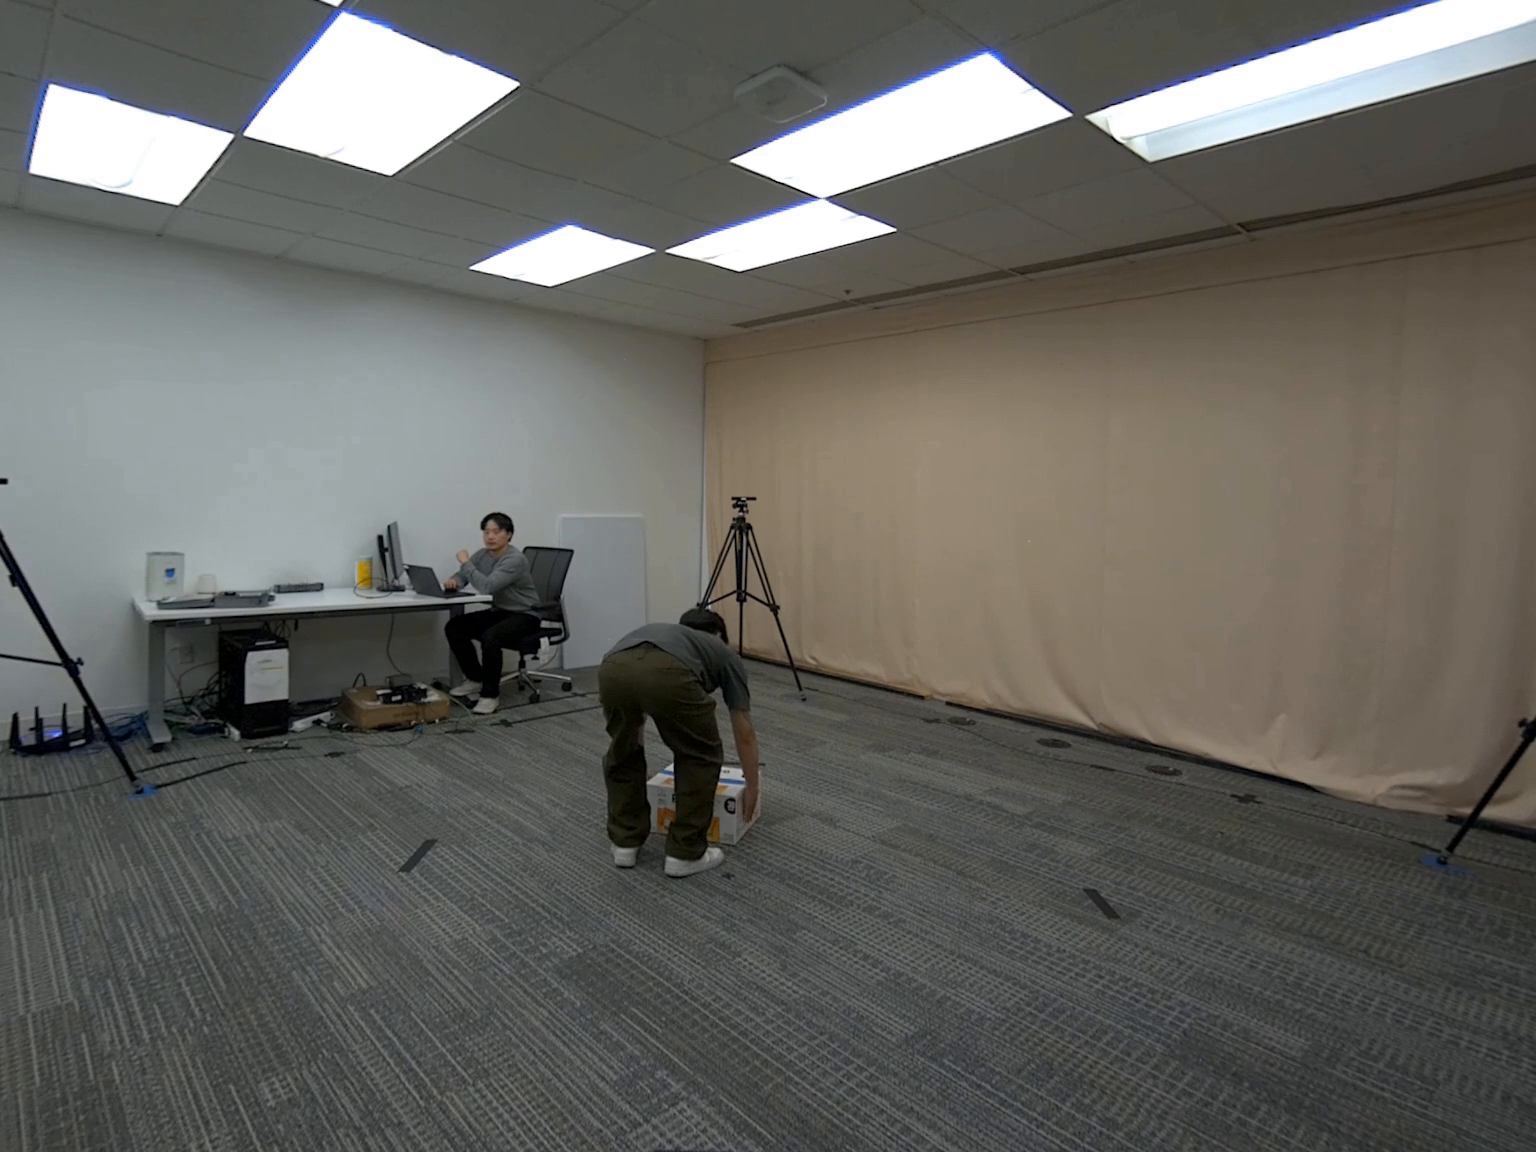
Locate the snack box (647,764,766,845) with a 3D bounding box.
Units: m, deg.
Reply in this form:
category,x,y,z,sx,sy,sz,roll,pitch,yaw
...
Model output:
category,x,y,z,sx,sy,sz,roll,pitch,yaw
snack box,-0.290,0.959,3.587,0.411,0.205,0.336,3,5,17
